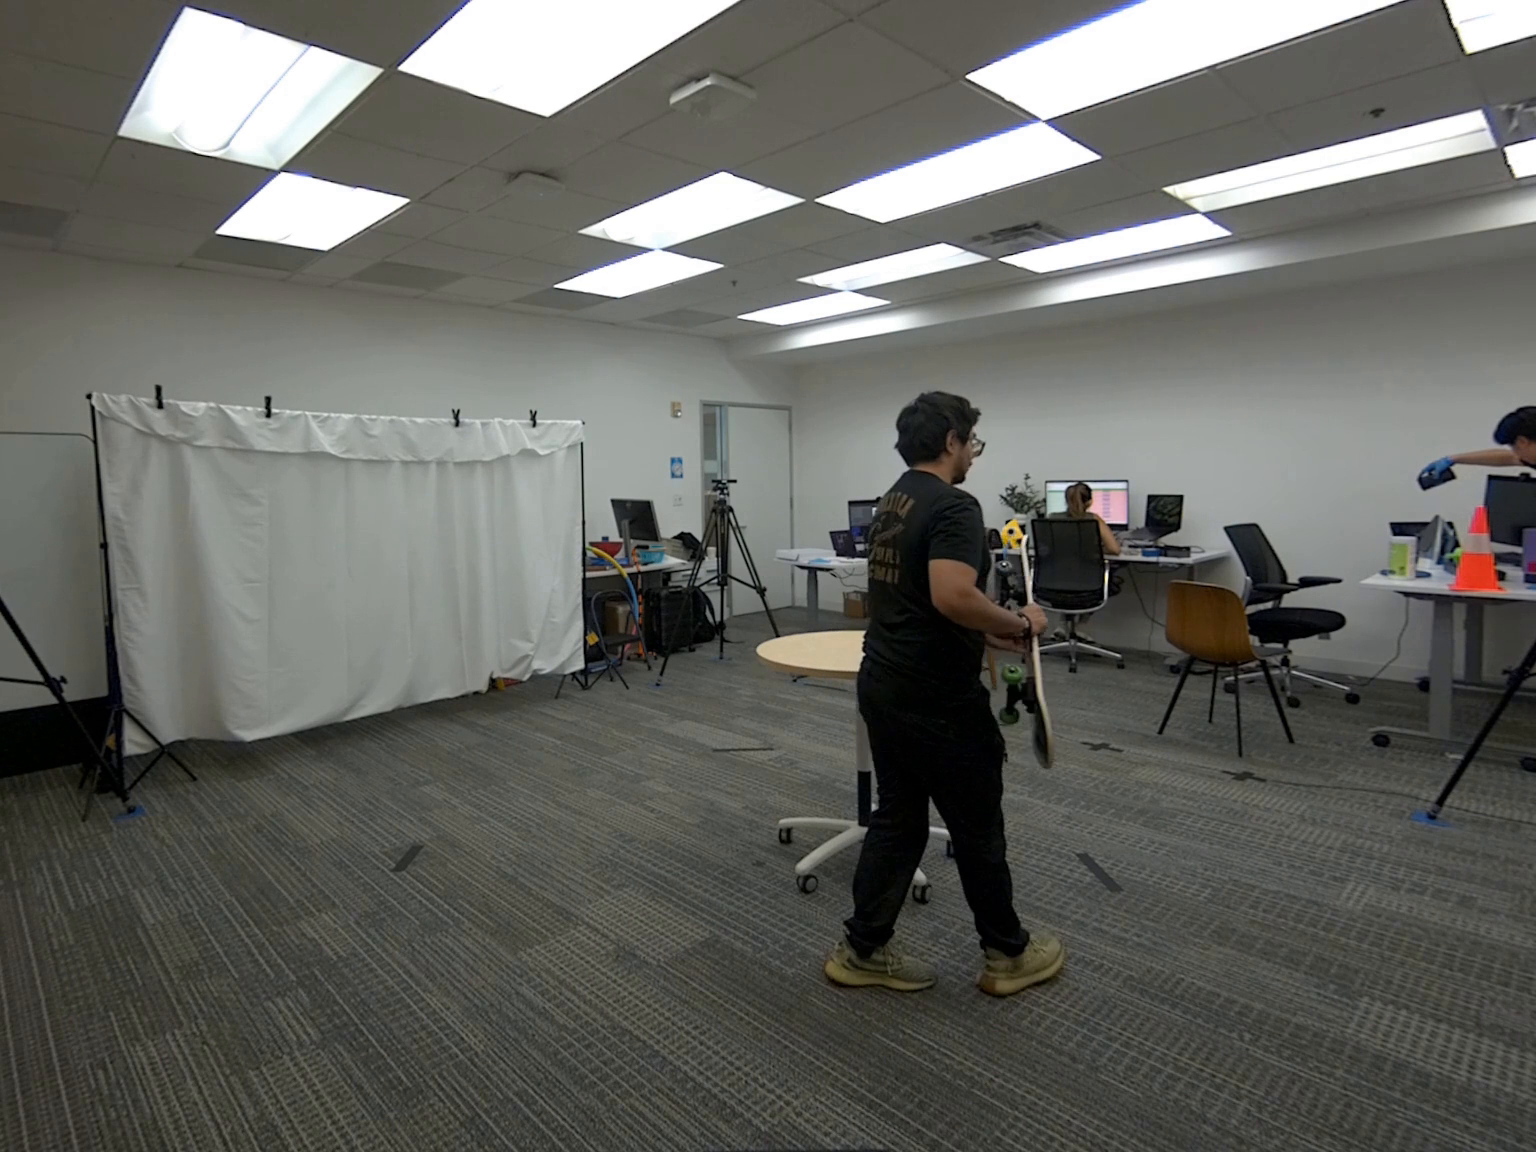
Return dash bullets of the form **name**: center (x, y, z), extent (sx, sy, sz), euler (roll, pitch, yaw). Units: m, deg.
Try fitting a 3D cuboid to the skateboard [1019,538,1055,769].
- **skateboard**: center (0.675, 0.162, 2.290), extent (0.112, 0.187, 0.800), euler (-1, 41, 12)
